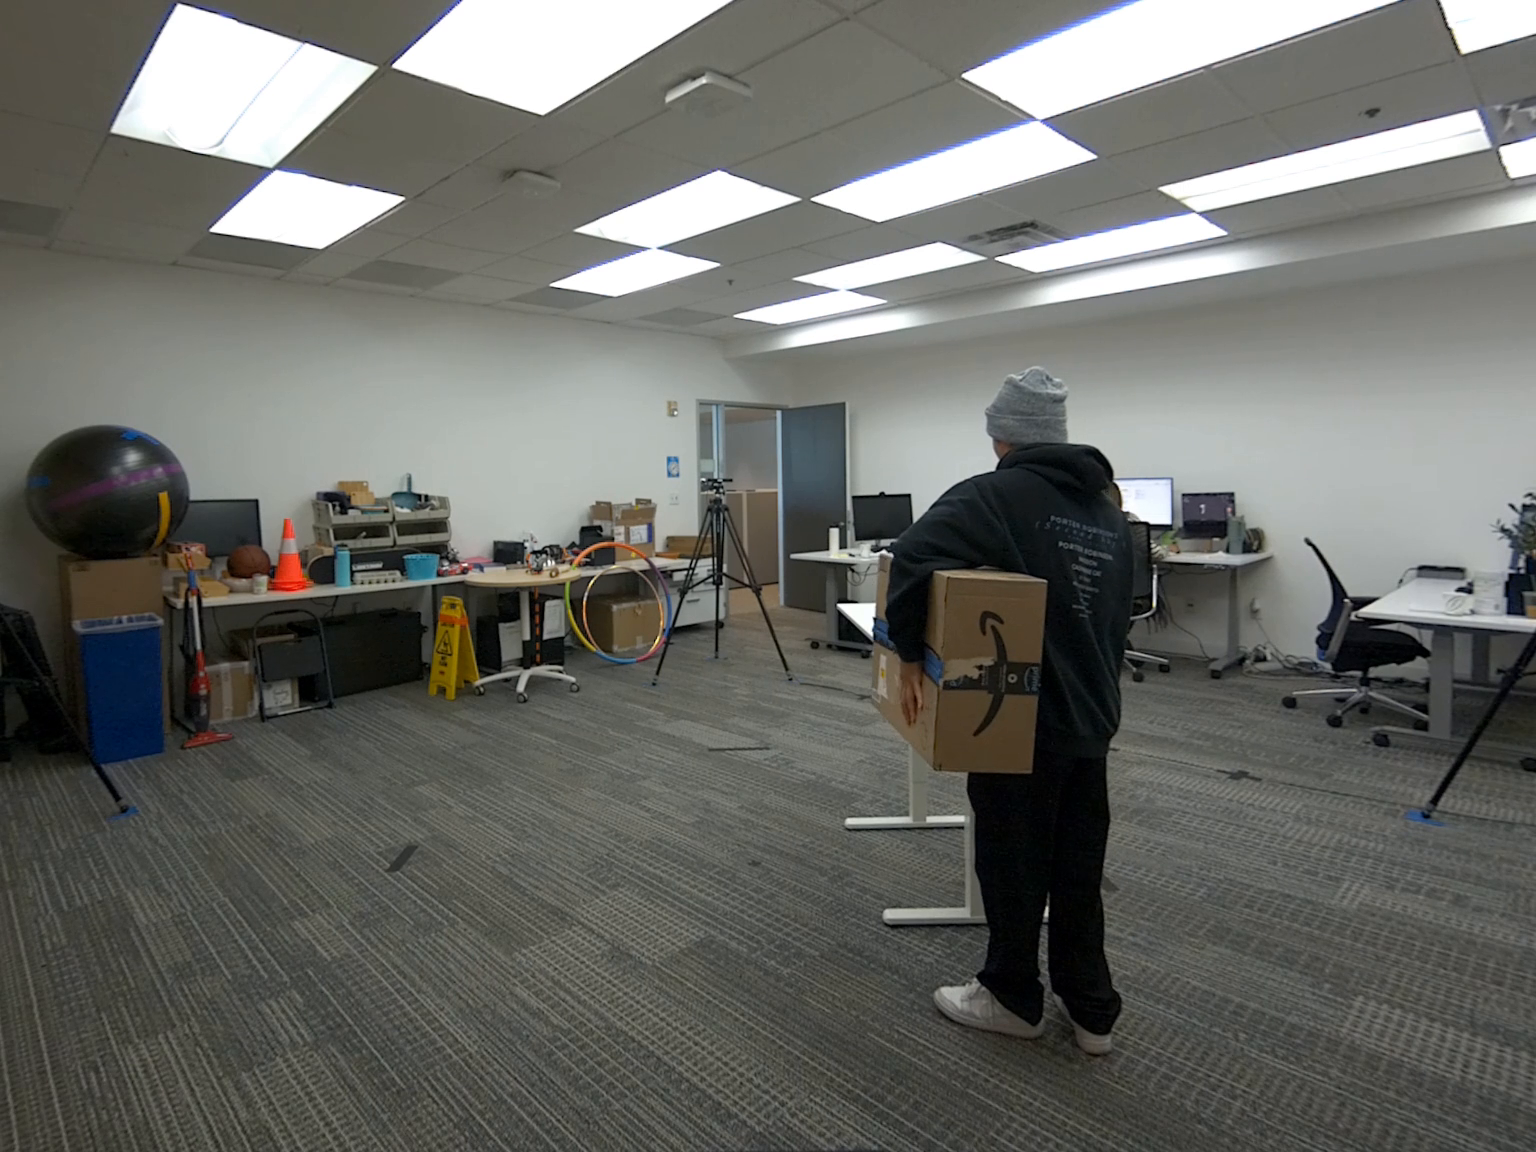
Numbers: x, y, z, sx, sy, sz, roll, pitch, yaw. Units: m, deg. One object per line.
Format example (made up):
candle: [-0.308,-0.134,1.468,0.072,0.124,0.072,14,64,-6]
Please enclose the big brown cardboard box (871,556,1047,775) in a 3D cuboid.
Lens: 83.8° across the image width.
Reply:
big brown cardboard box: [0.443,0.179,2.063,0.231,0.416,0.596,2,5,-9]
